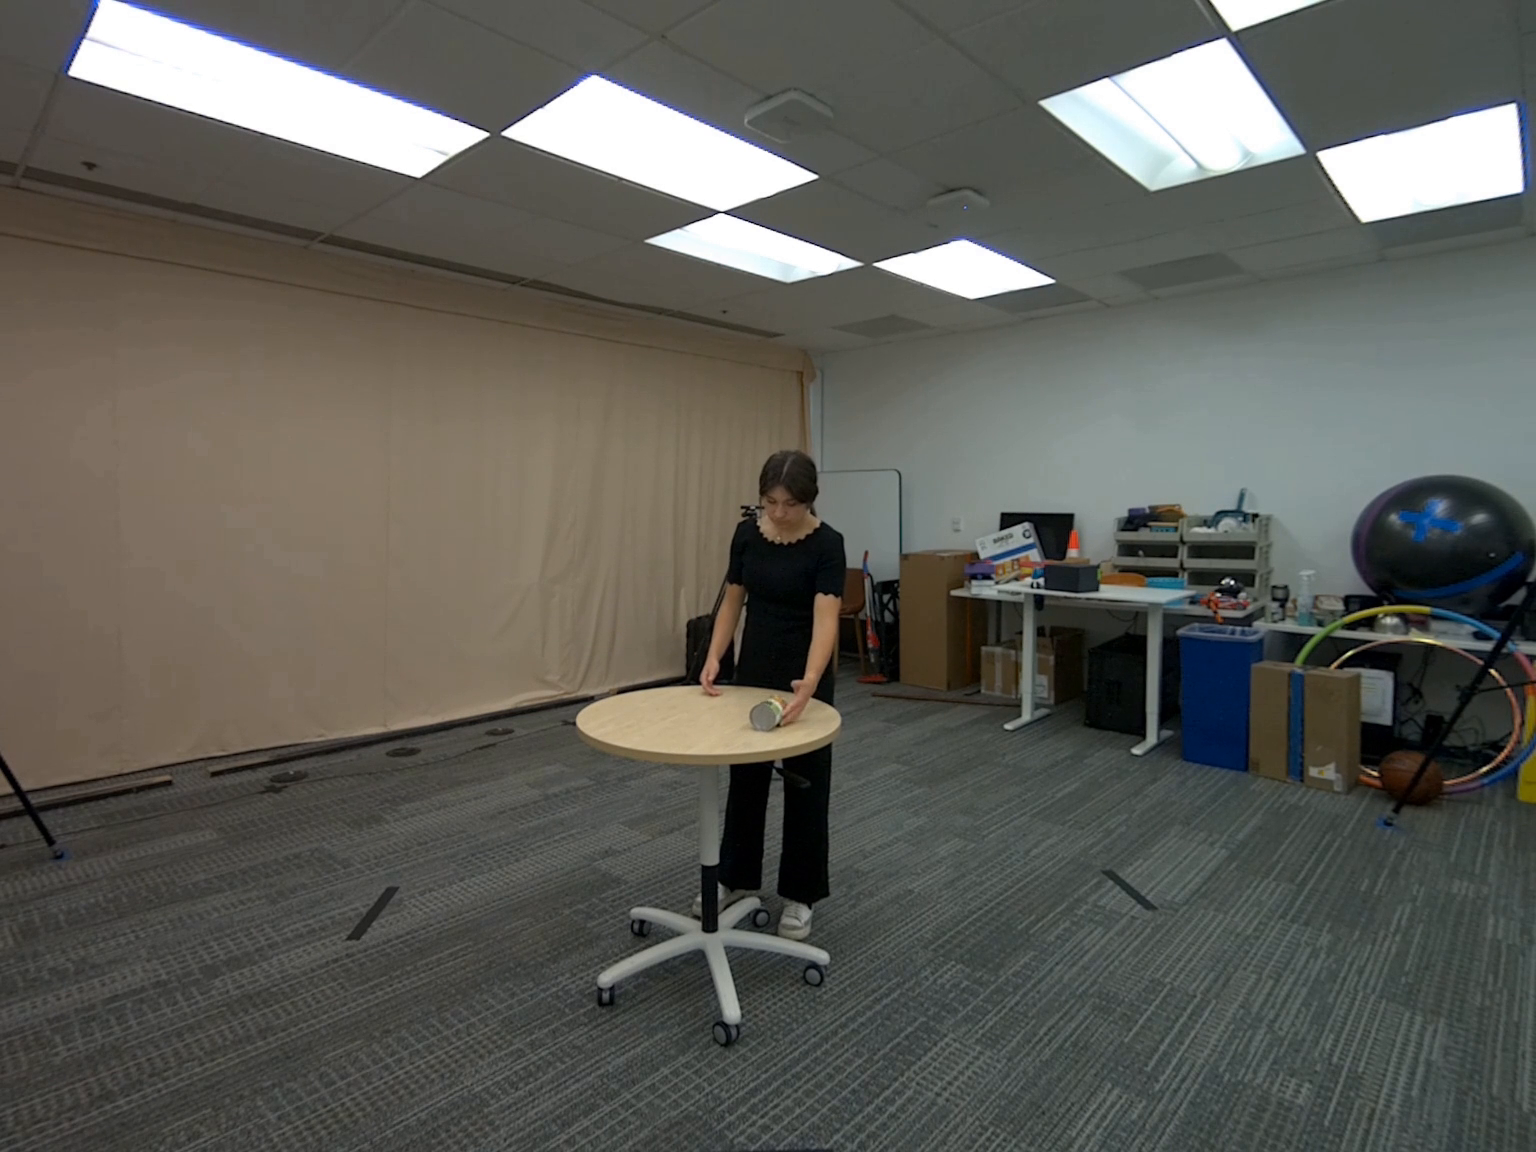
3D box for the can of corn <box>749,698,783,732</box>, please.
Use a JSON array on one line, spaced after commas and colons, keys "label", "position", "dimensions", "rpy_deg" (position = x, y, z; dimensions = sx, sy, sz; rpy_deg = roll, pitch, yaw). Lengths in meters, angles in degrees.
[{"label": "can of corn", "position": [0.006, 0.378, 2.331], "dimensions": [0.075, 0.074, 0.109], "rpy_deg": [1, 5, 16]}]
